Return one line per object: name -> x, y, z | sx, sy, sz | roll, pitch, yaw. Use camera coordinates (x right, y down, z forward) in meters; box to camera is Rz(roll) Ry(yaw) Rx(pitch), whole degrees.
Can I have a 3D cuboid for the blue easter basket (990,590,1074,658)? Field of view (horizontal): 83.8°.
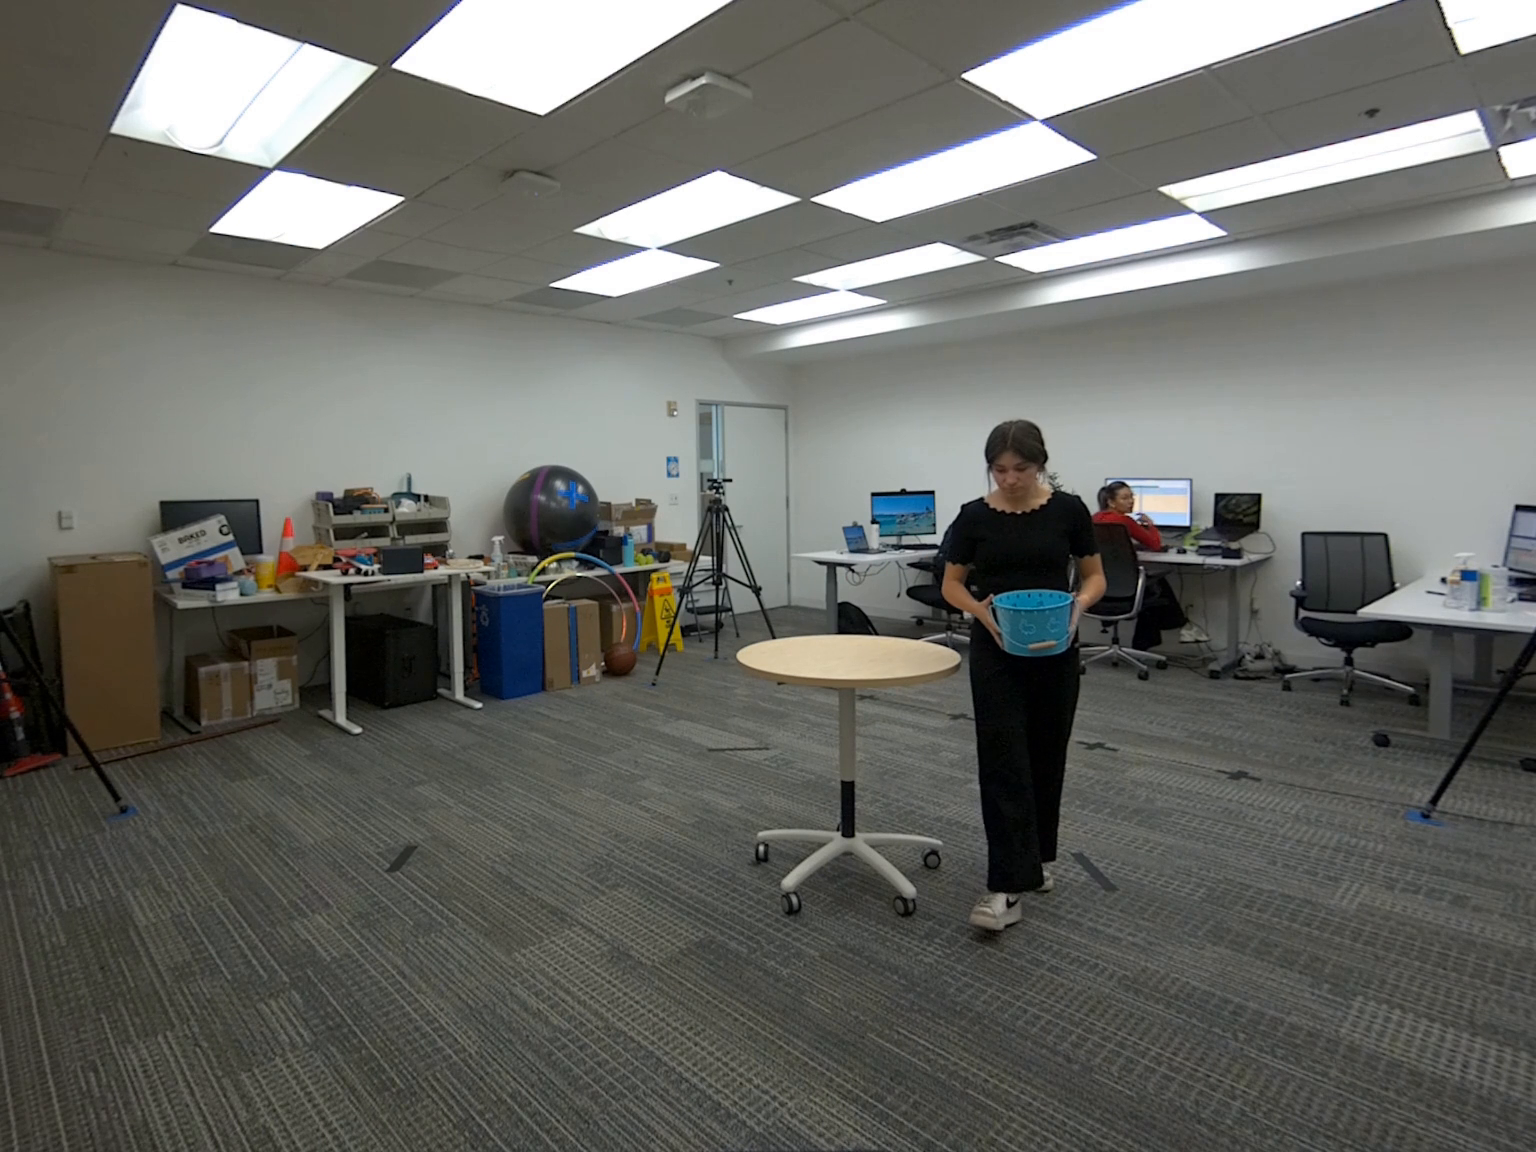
blue easter basket -> 0.800, 0.147, 2.571 | 0.243, 0.154, 0.246 | -6, 9, -1
